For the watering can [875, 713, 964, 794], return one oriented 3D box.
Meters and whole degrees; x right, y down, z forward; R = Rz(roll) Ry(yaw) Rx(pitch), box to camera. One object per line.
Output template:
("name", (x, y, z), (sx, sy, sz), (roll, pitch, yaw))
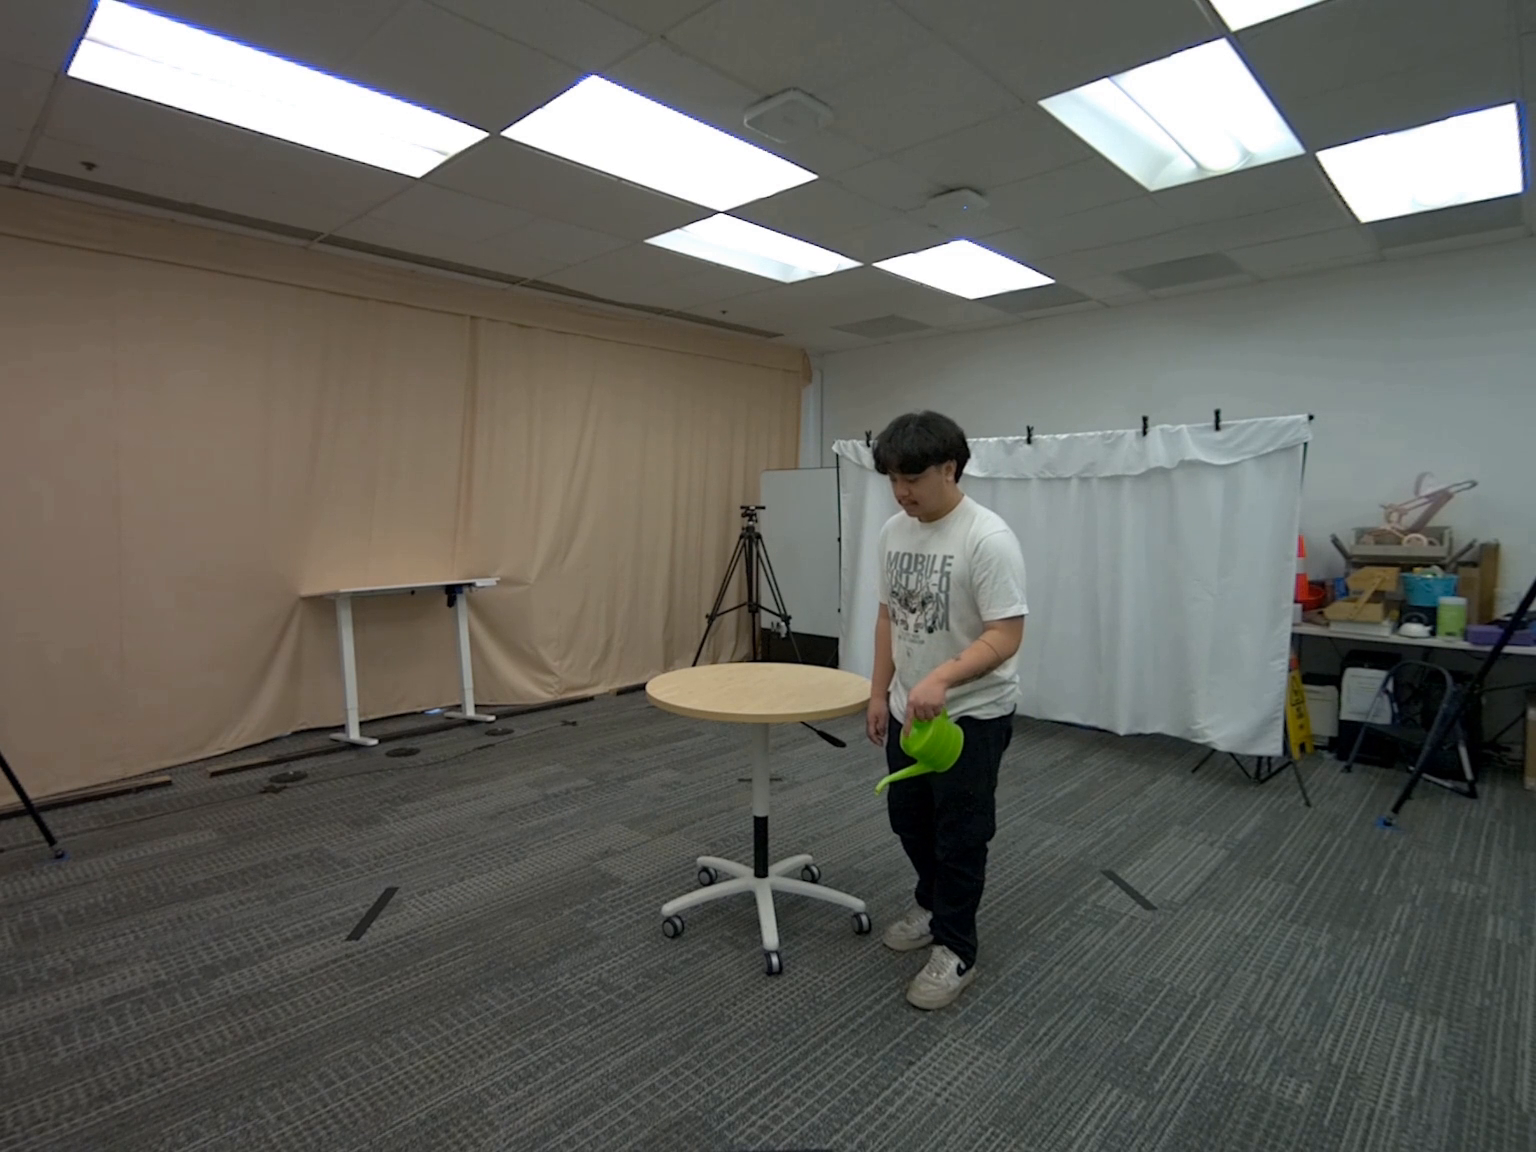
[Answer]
("watering can", (0.374, 0.439, 2.123), (0.171, 0.278, 0.101), (36, 0, -32))
